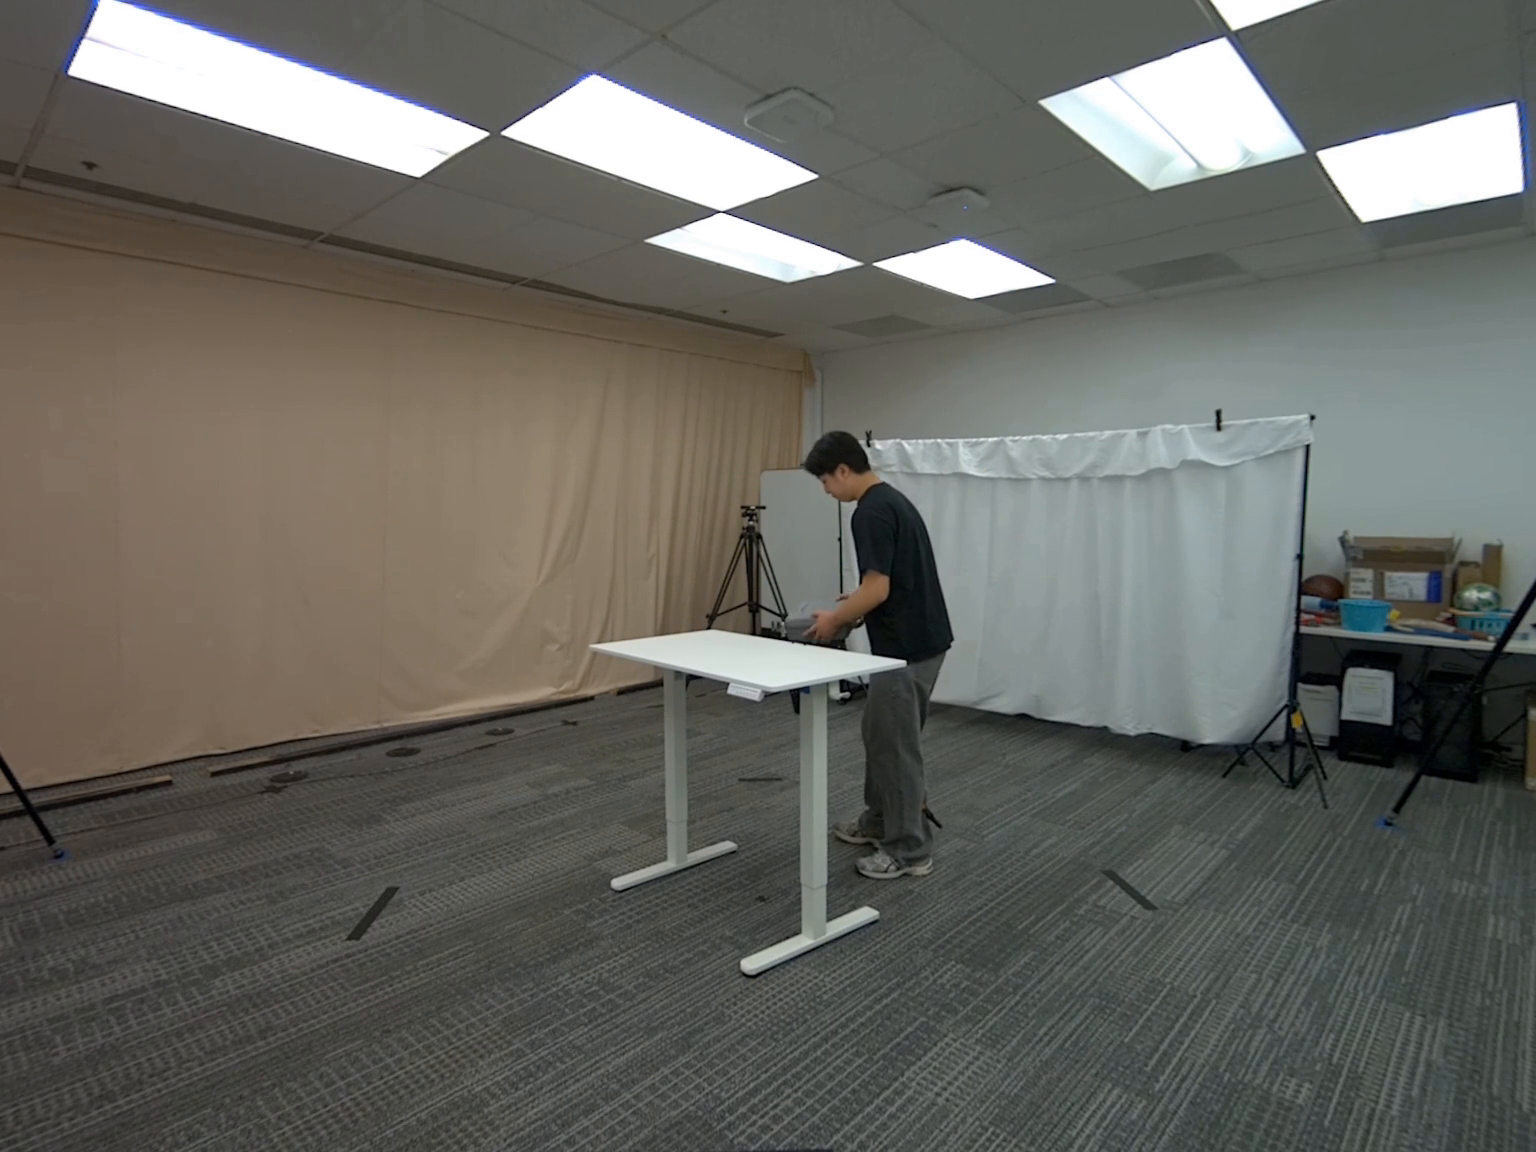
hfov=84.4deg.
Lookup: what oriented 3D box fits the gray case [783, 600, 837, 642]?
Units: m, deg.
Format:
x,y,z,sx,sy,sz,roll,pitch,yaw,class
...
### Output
x,y,z,sx,sy,sz,roll,pitch,yaw,class
0.210,0.188,3.384,0.293,0.102,0.259,-4,10,20,gray case
